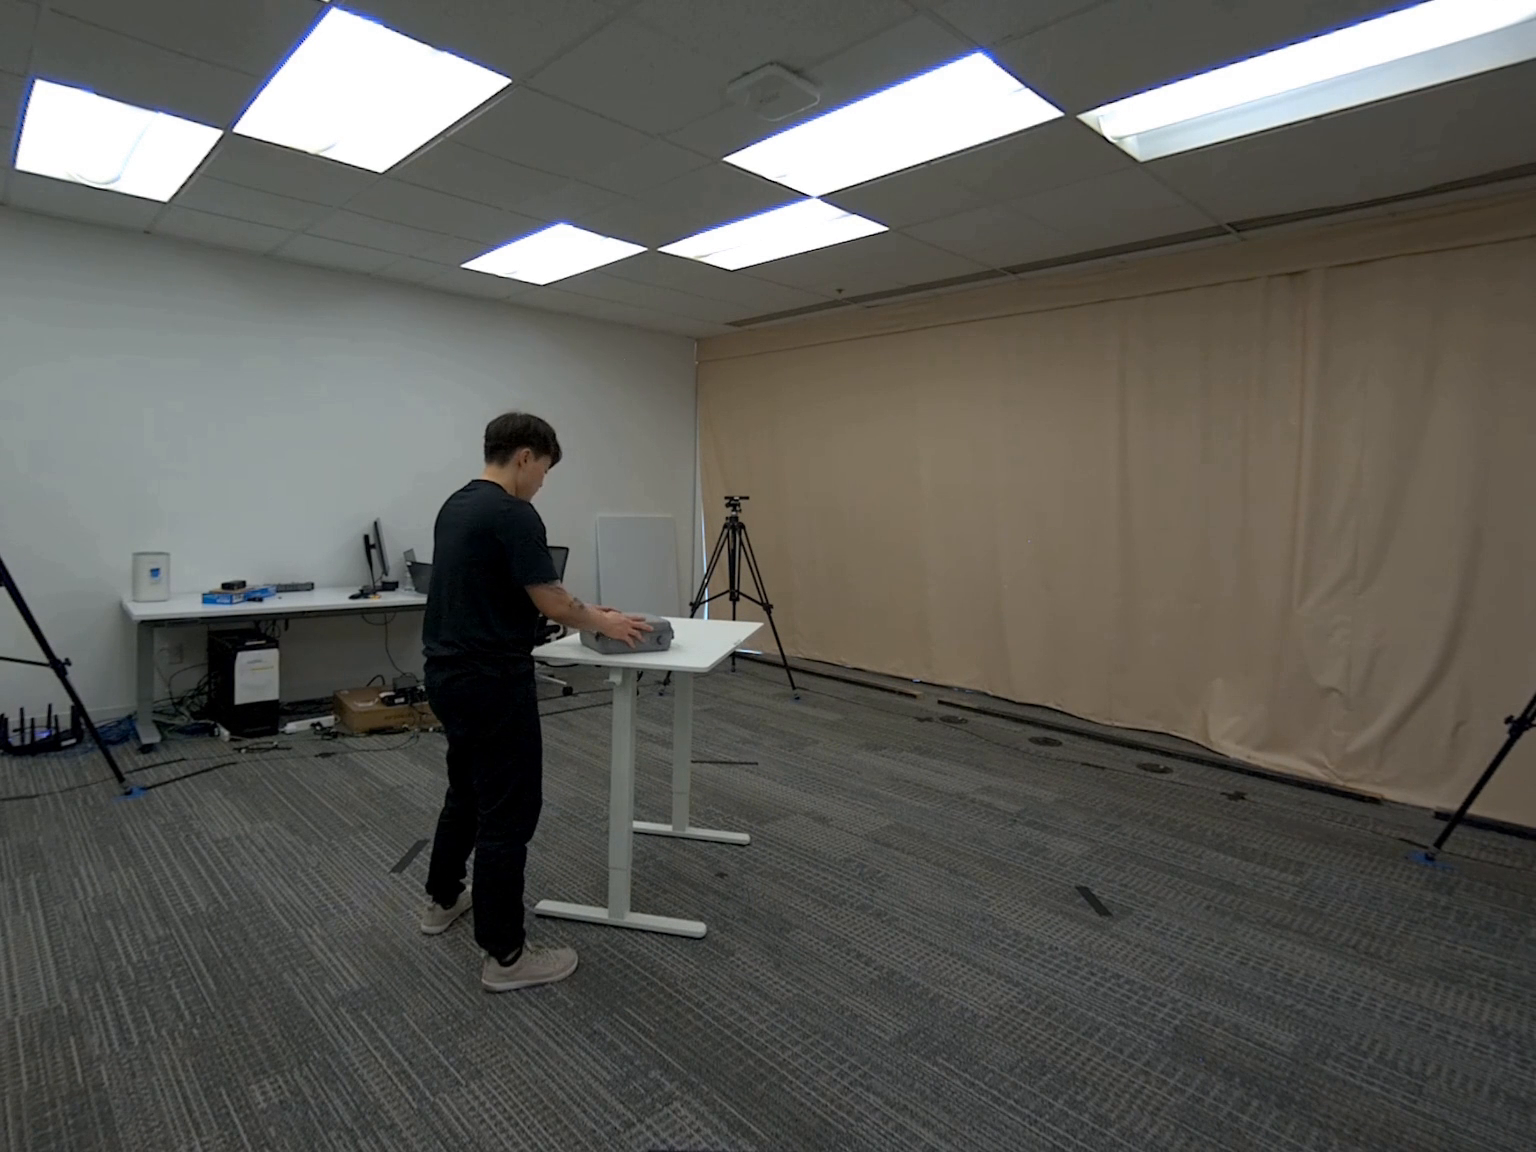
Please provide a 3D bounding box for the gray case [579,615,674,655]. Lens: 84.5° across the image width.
[{"bbox_3d":[-0.482,0.188,2.819,0.255,0.104,0.262,0,3,-28],"label":"gray case"}]
